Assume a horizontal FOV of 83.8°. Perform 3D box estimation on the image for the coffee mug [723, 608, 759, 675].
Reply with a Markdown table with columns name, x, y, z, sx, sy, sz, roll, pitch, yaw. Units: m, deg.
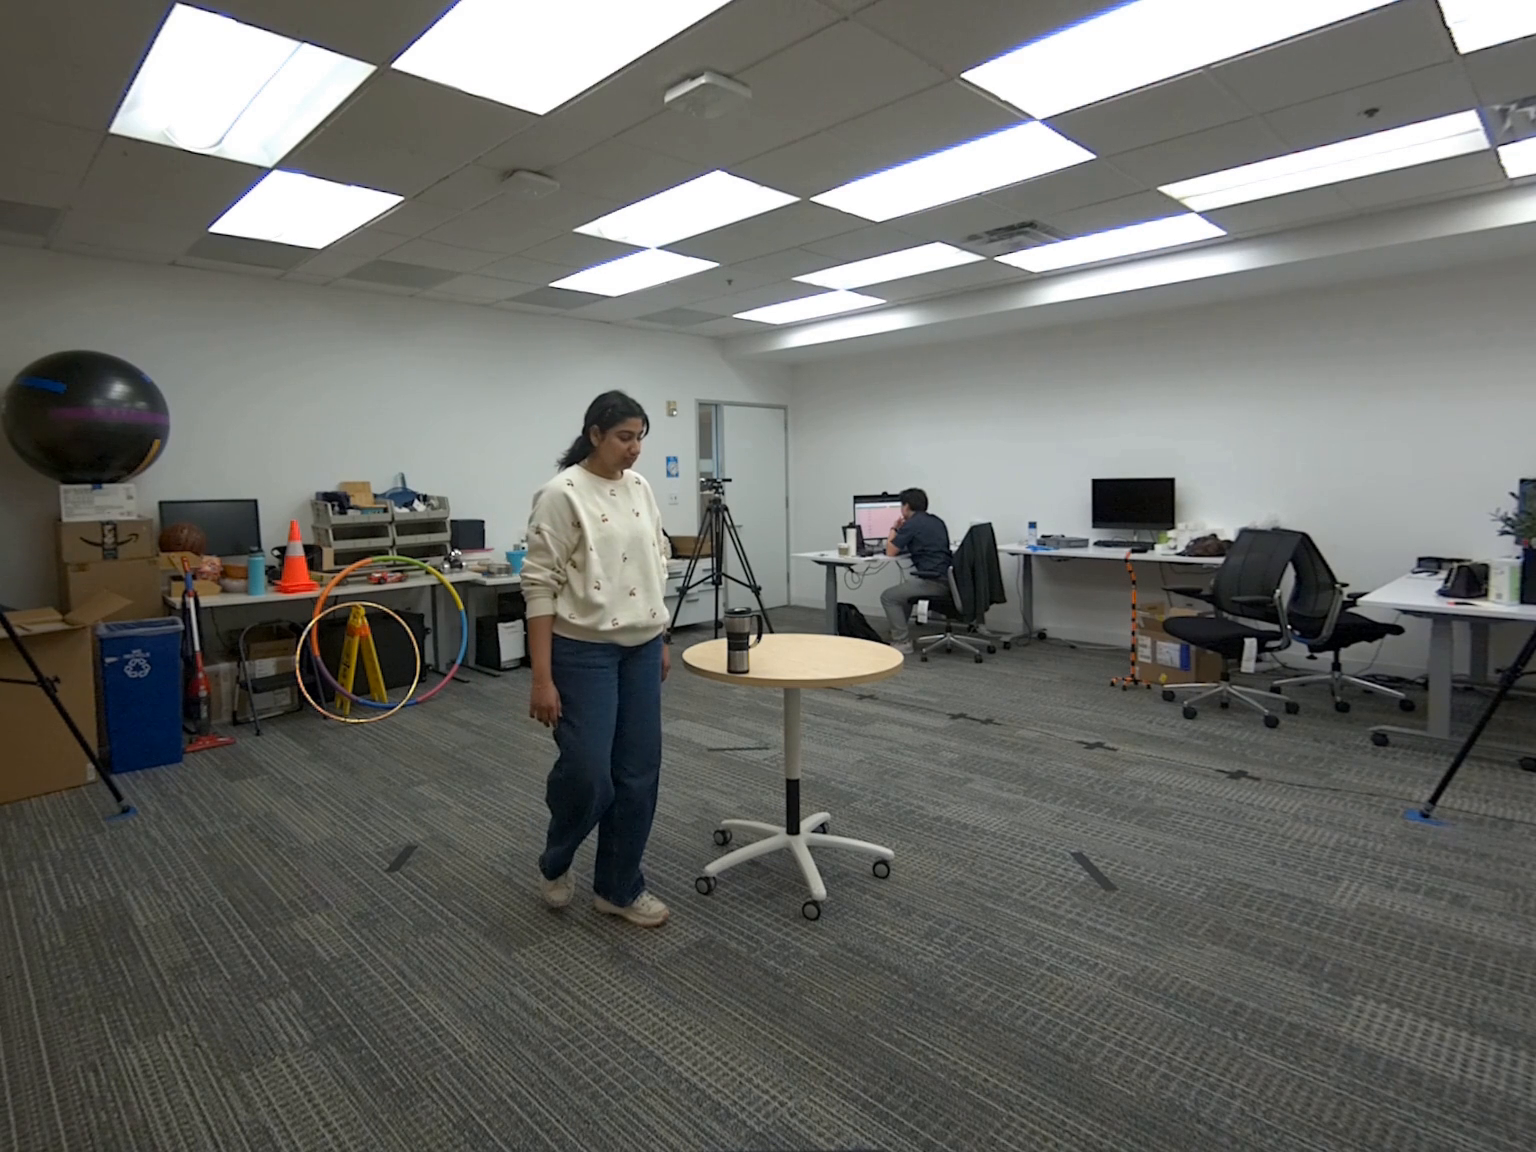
| name | x | y | z | sx | sy | sz | roll | pitch | yaw |
| --- | --- | --- | --- | --- | --- | --- | --- | --- | --- |
| coffee mug | -0.074 | 0.204 | 2.694 | 0.123 | 0.203 | 0.087 | -4 | -1 | 8 |
